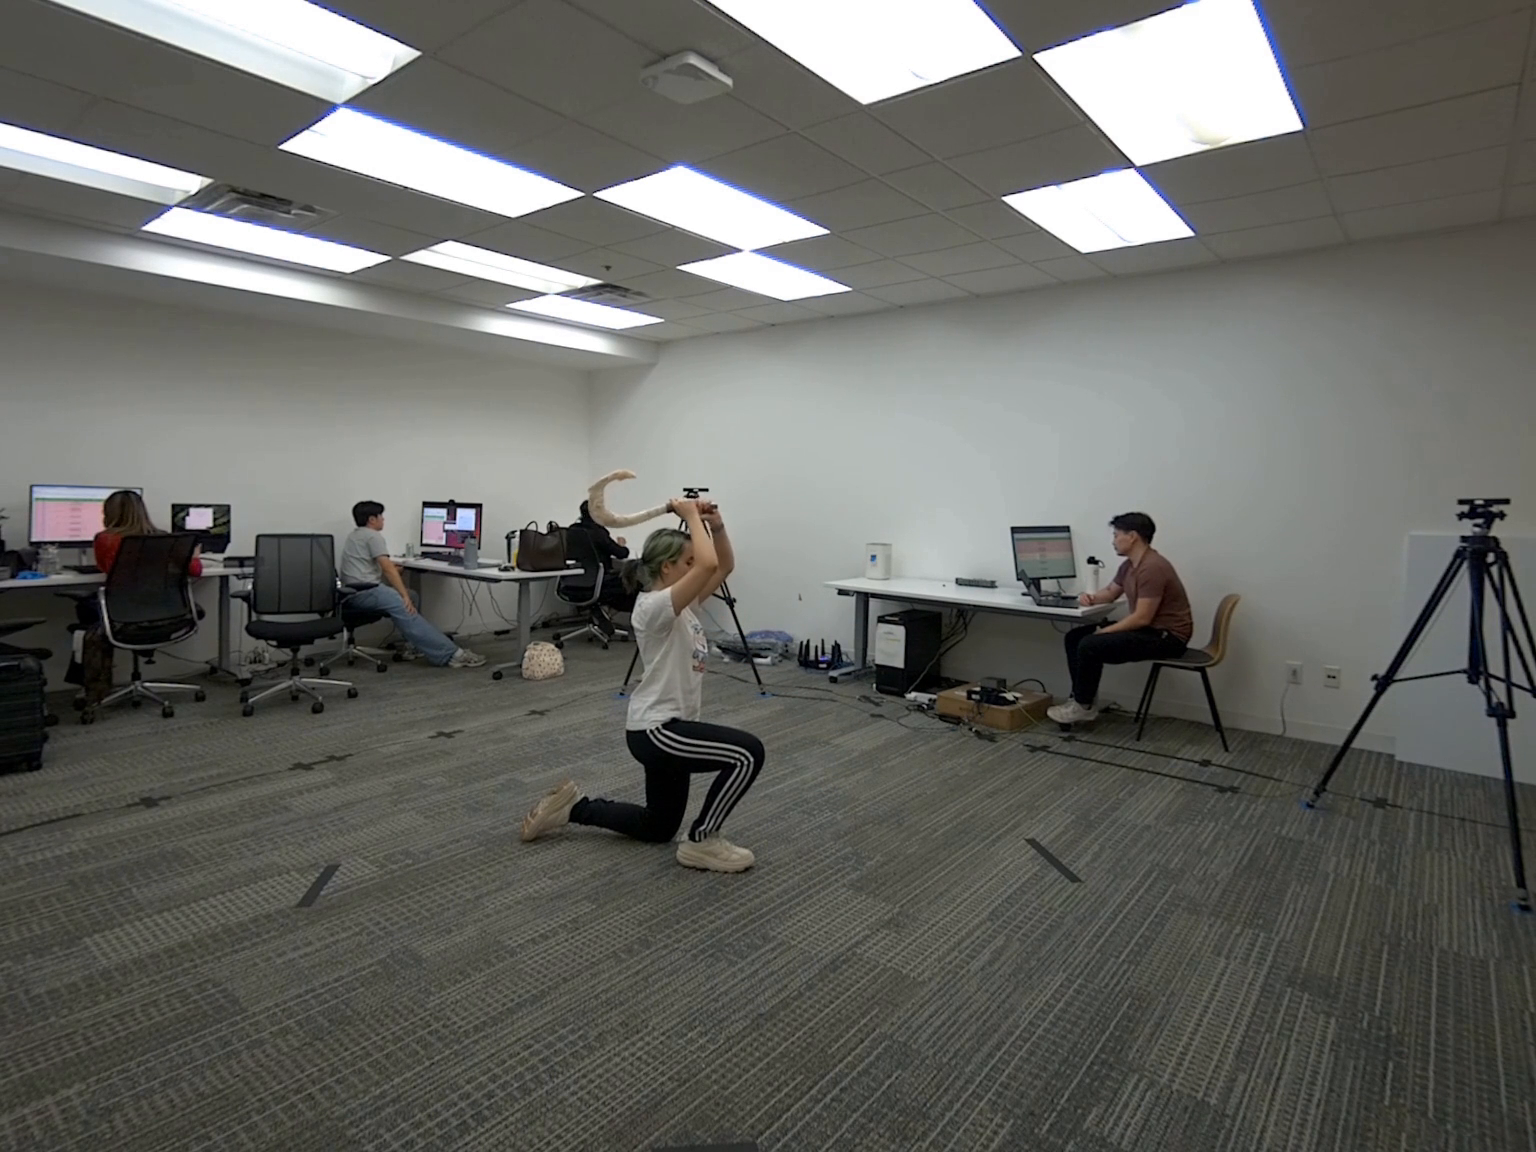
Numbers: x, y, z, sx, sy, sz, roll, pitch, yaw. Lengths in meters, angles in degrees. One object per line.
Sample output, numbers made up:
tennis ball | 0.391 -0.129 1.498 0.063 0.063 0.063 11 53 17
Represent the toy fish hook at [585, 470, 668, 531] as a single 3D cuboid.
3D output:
toy fish hook | -0.455 -0.313 3.324 0.507 0.223 0.048 -4 7 0
